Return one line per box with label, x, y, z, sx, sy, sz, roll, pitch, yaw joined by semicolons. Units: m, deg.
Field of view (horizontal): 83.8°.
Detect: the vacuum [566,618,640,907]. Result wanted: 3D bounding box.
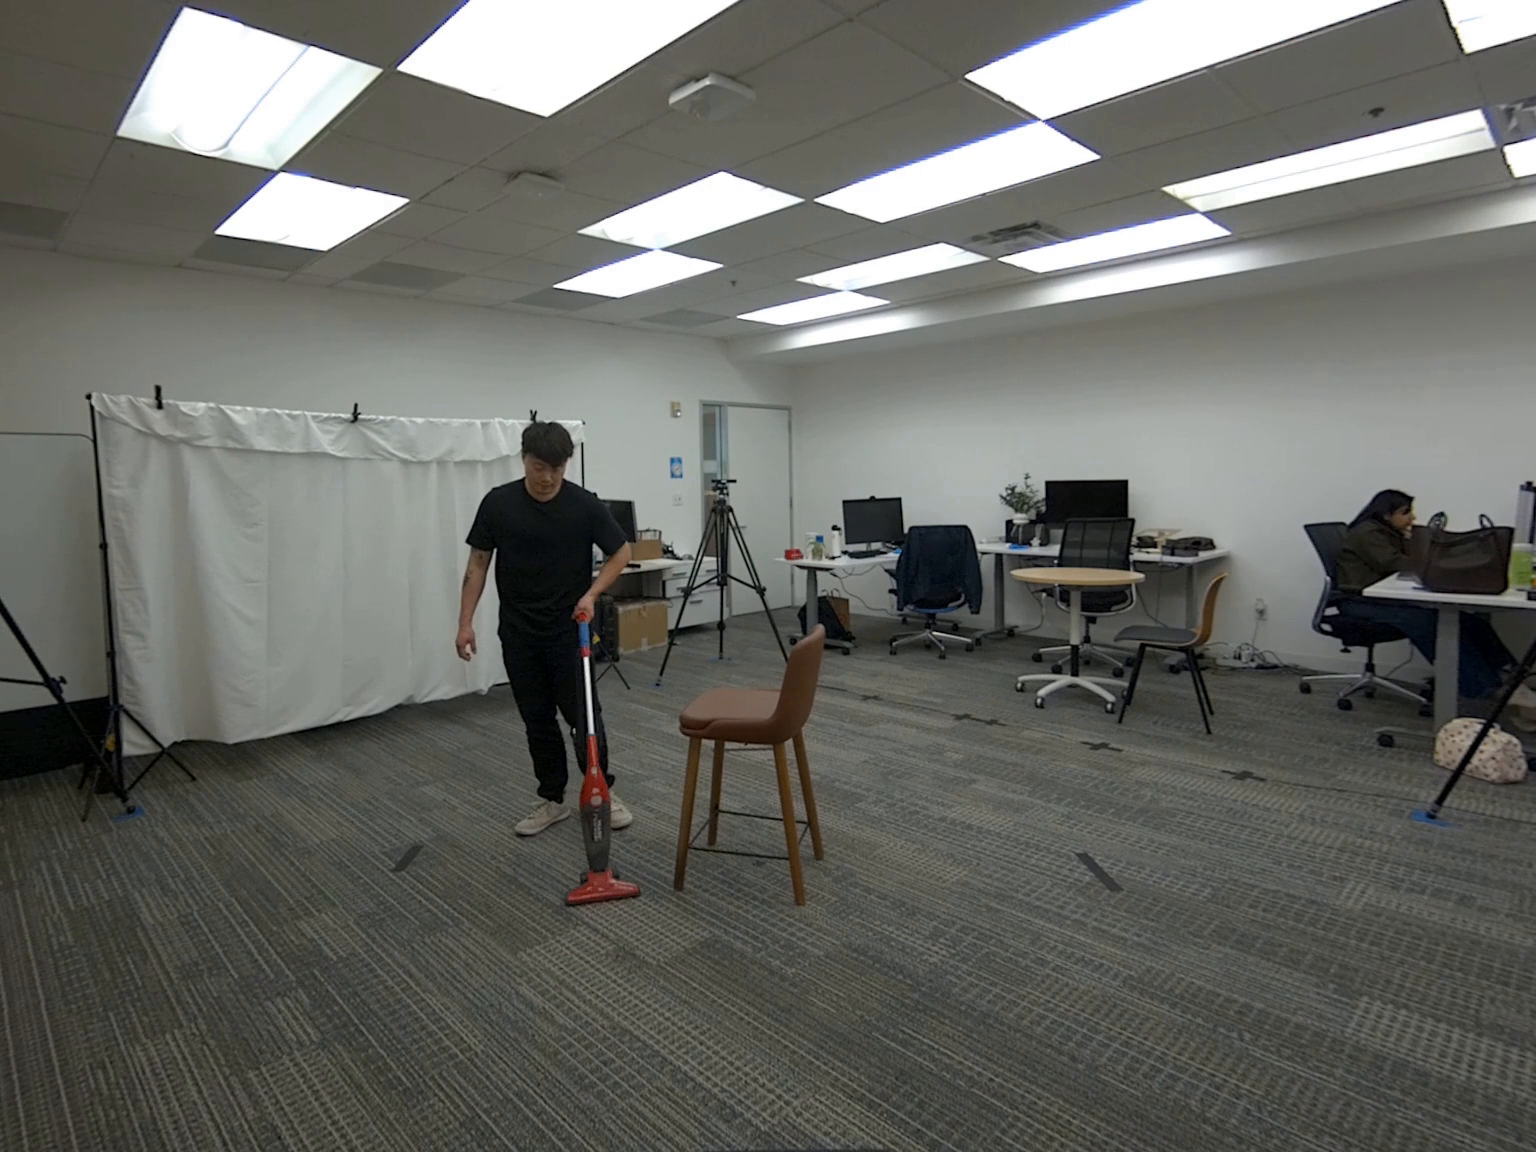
vacuum;-0.663;0.597;3.150;0.246;1.076;0.144;3;-29;-26
